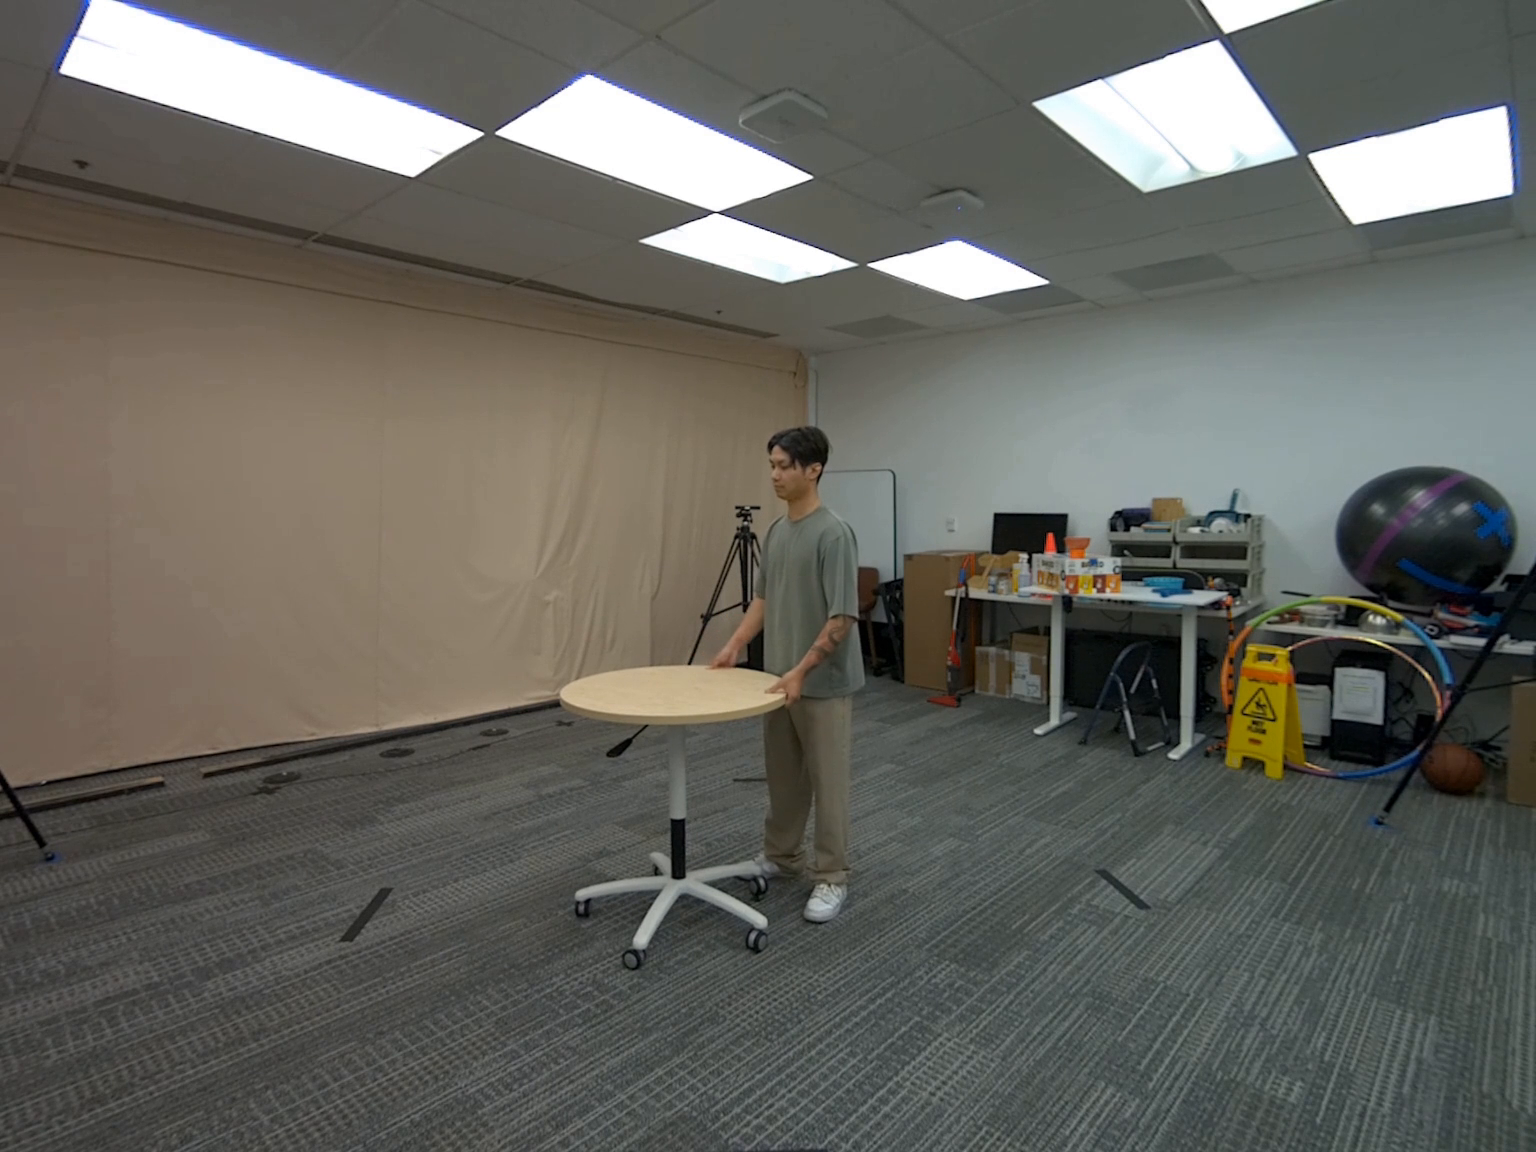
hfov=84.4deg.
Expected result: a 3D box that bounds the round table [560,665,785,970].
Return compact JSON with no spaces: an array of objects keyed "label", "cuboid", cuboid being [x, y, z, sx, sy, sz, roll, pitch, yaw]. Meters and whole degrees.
[{"label":"round table","cuboid":[-0.291,0.765,2.840,0.784,0.784,0.788,-1,4,-2]}]
